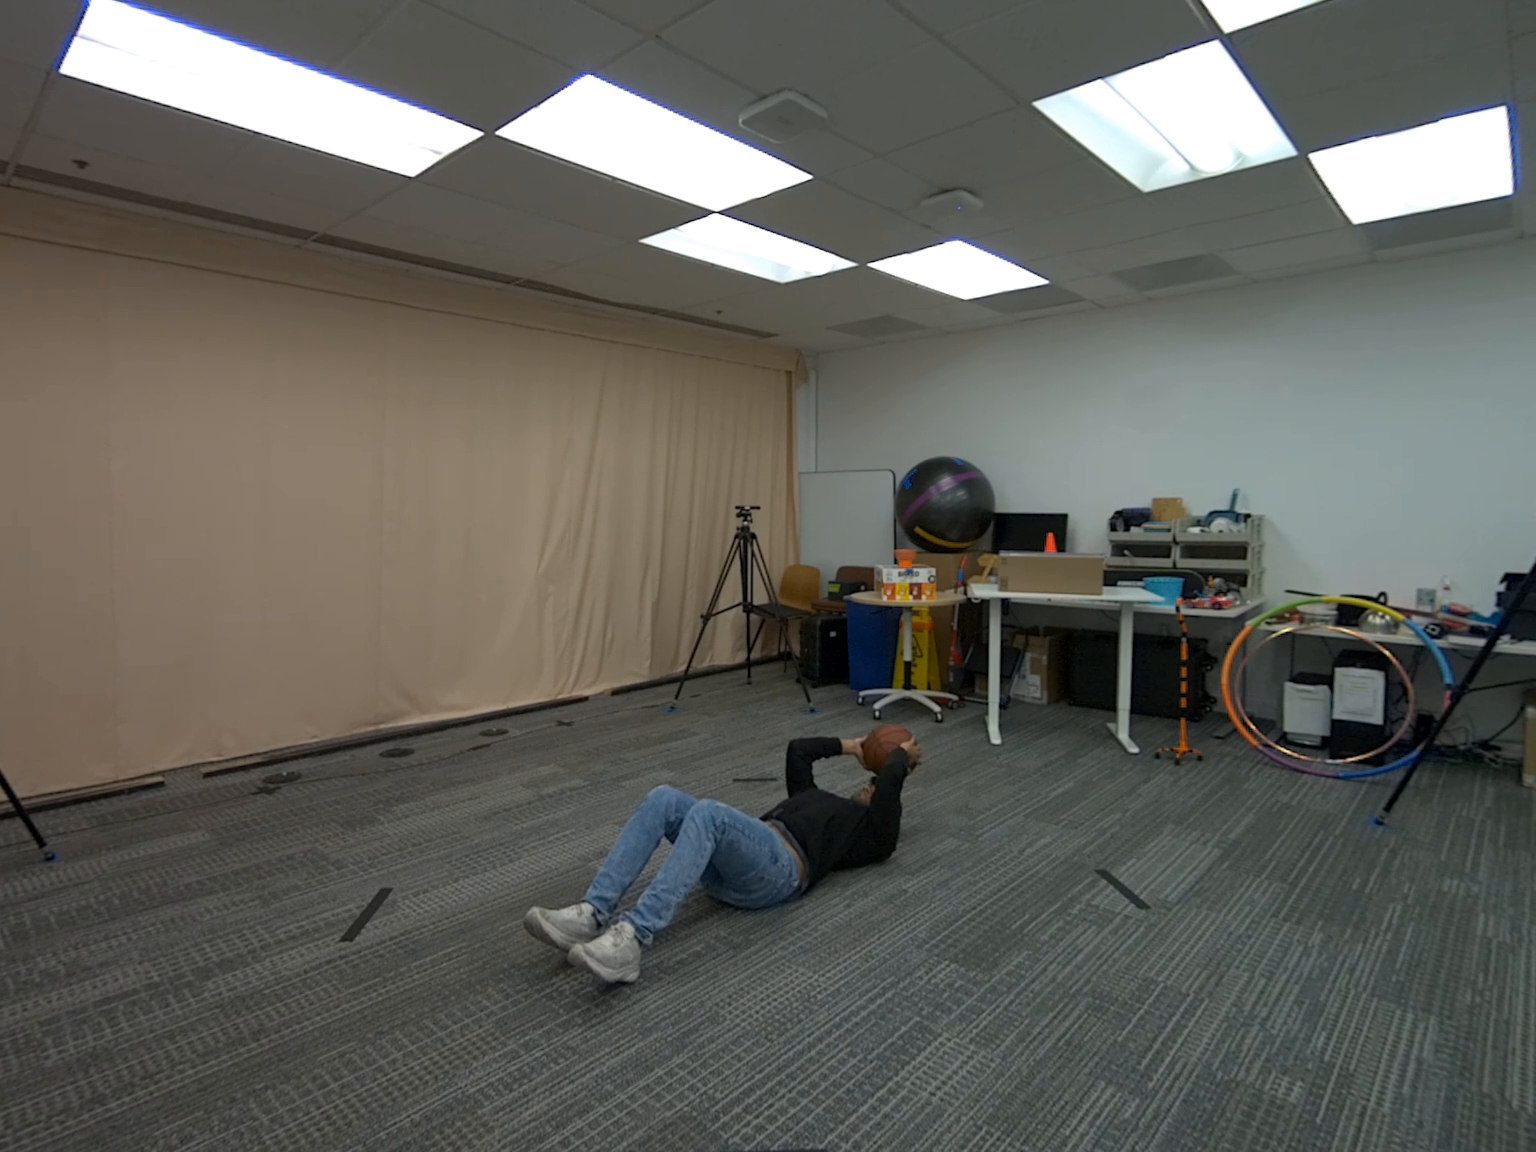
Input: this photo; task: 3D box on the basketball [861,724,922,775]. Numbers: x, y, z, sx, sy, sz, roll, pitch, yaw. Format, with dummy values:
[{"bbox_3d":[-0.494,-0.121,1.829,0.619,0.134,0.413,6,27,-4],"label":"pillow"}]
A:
[{"bbox_3d":[0.520,0.752,3.634,0.236,0.235,0.237,0,4,-2],"label":"basketball"}]
